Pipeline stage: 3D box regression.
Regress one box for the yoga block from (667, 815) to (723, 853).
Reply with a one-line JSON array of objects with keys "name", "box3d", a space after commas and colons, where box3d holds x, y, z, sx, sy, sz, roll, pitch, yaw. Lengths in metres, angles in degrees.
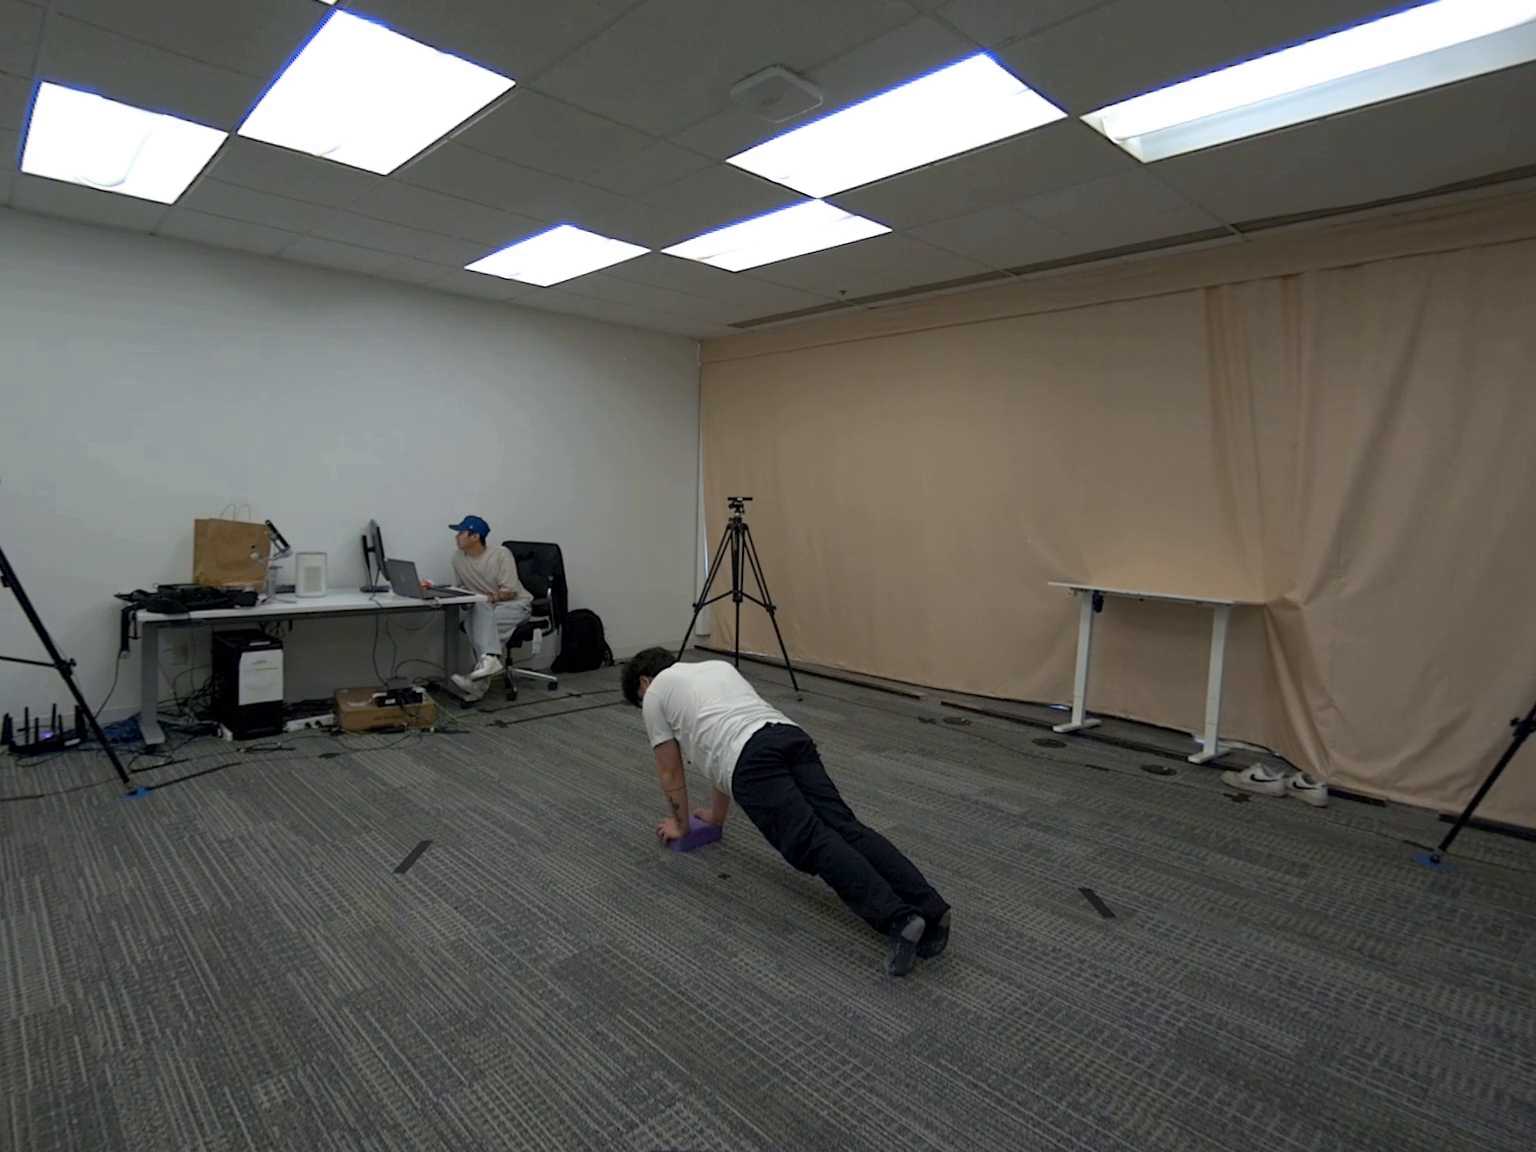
[{"name": "yoga block", "box3d": [-0.321, 1.042, 3.424, 0.153, 0.076, 0.224, 7, 7, 45]}]
